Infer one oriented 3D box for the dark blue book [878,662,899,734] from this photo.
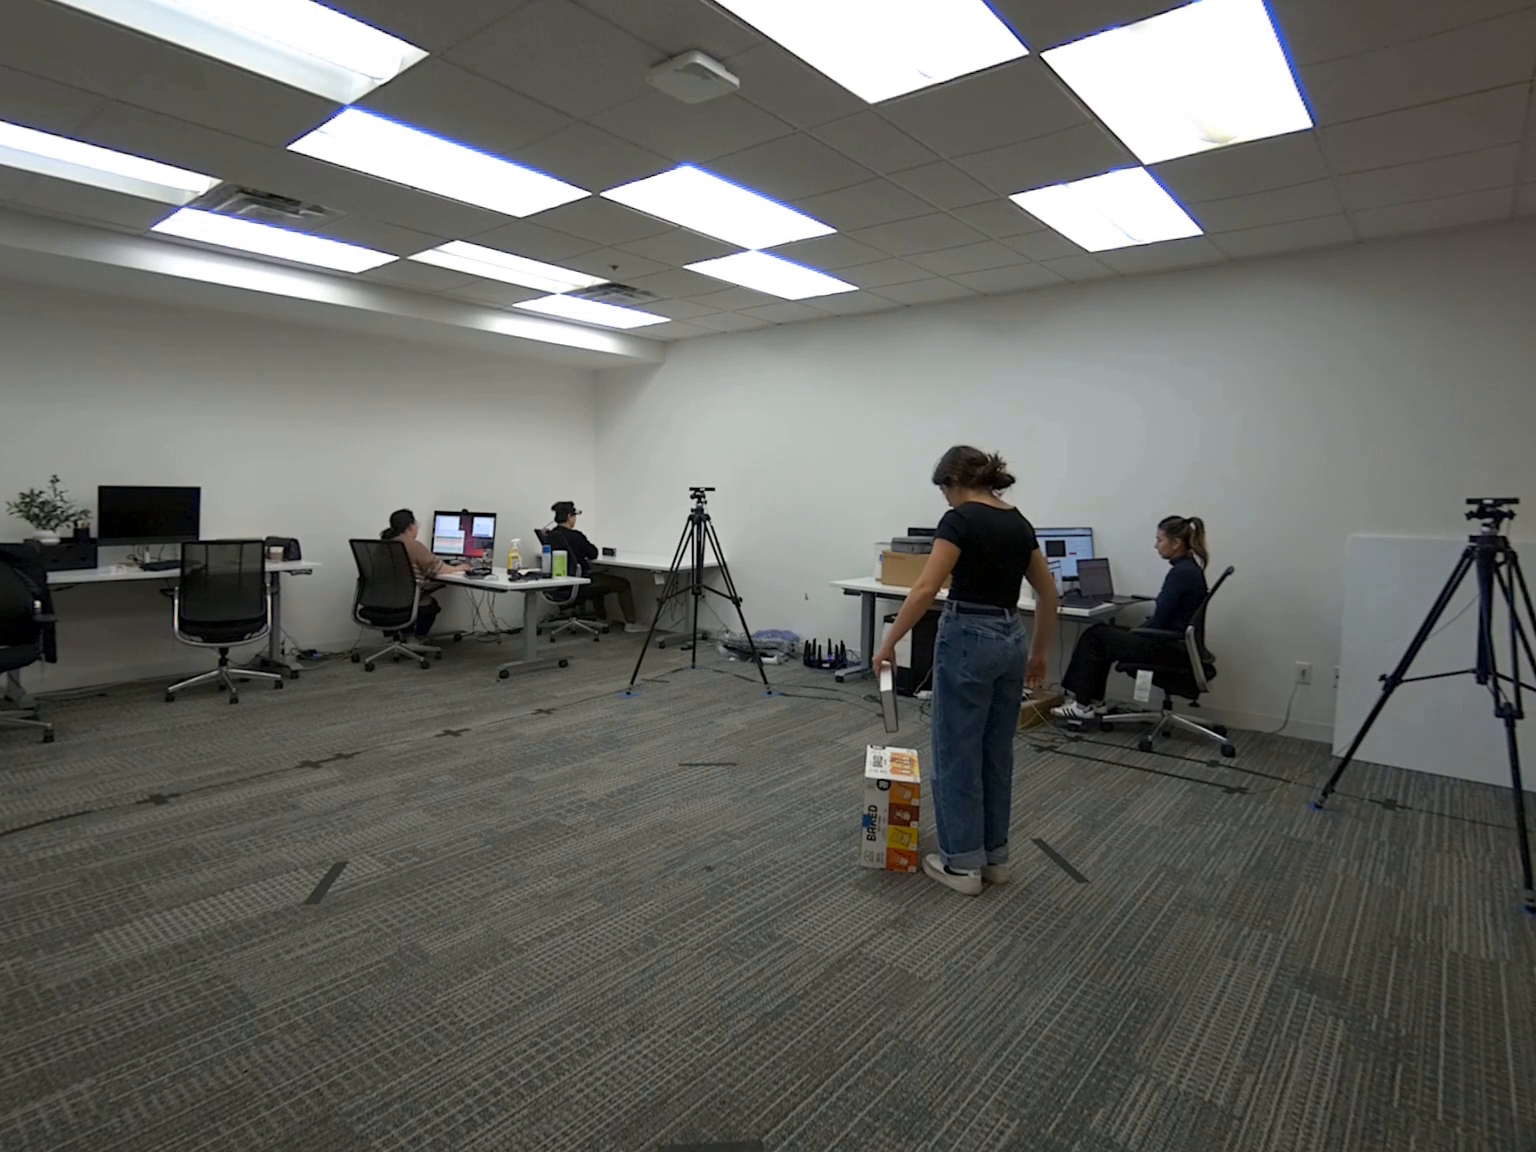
[{"bbox_3d":[0.418,0.403,2.928,0.046,0.161,0.246,-5,17,11],"label":"dark blue book"}]
